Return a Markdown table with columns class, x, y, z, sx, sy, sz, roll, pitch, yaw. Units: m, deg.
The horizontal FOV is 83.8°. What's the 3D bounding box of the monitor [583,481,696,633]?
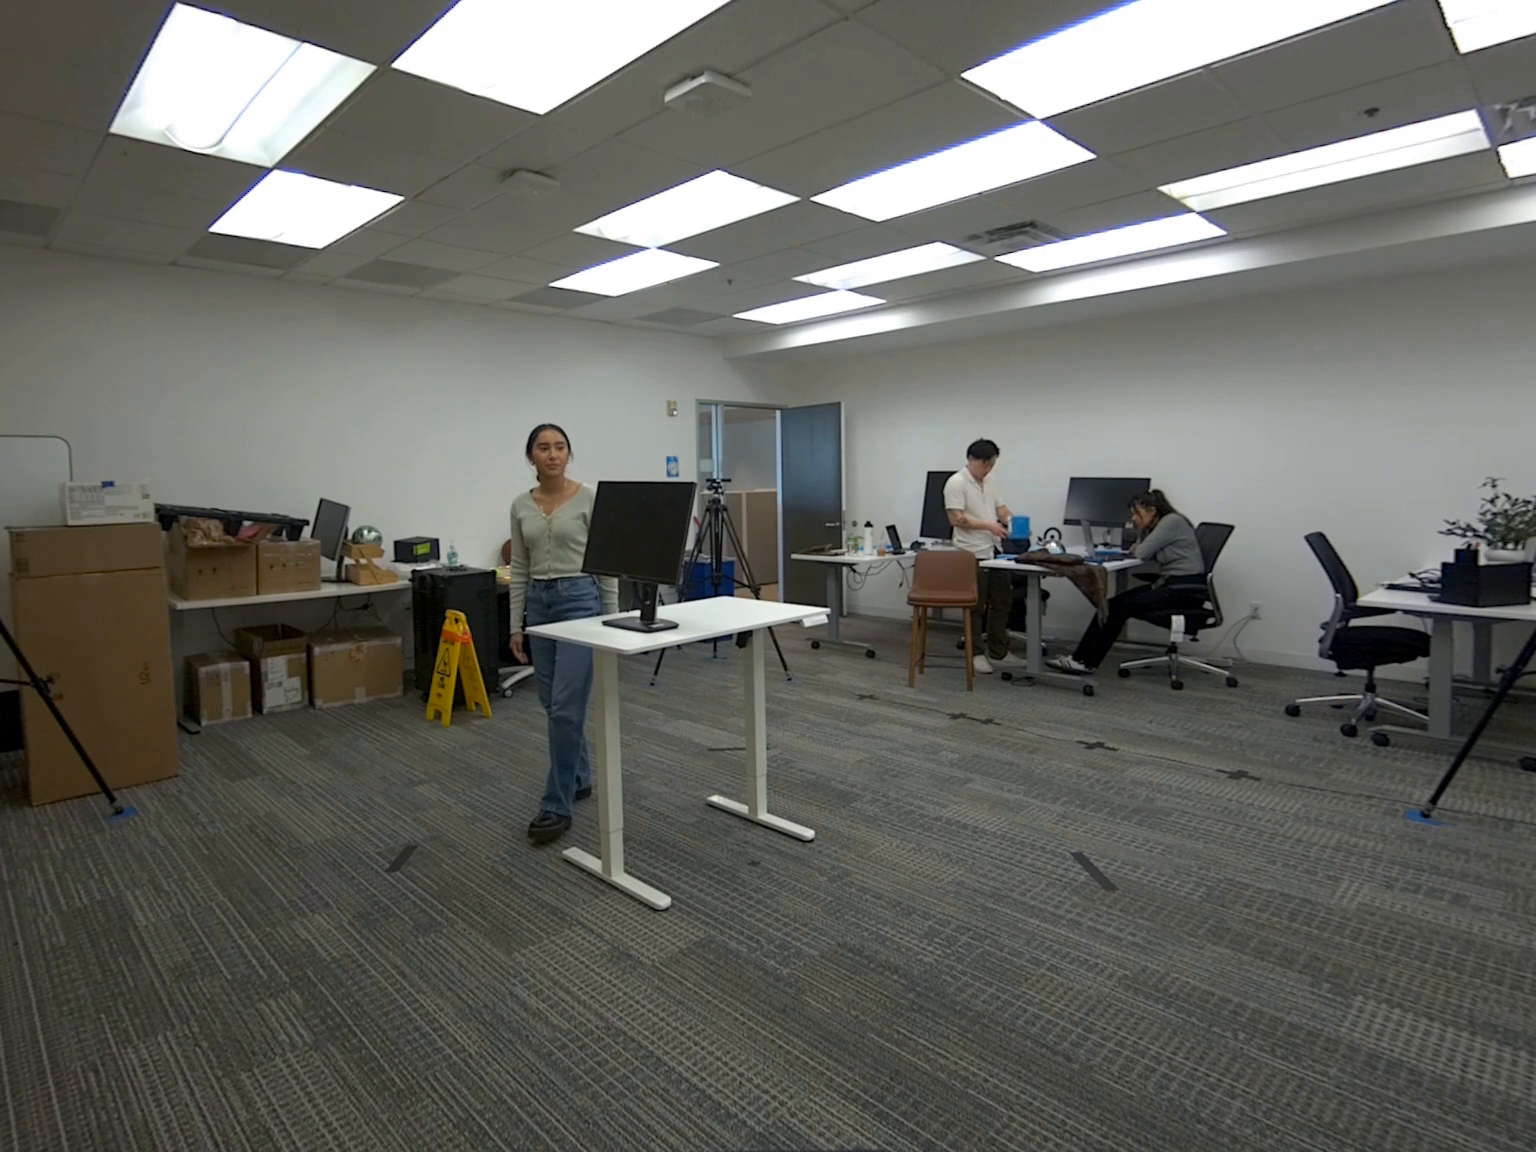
| class | x | y | z | sx | sy | sz | roll | pitch | yaw |
| --- | --- | --- | --- | --- | --- | --- | --- | --- | --- |
| monitor | -0.445 | -0.074 | 3.030 | 0.556 | 0.521 | 0.182 | 5 | 4 | 42 |
